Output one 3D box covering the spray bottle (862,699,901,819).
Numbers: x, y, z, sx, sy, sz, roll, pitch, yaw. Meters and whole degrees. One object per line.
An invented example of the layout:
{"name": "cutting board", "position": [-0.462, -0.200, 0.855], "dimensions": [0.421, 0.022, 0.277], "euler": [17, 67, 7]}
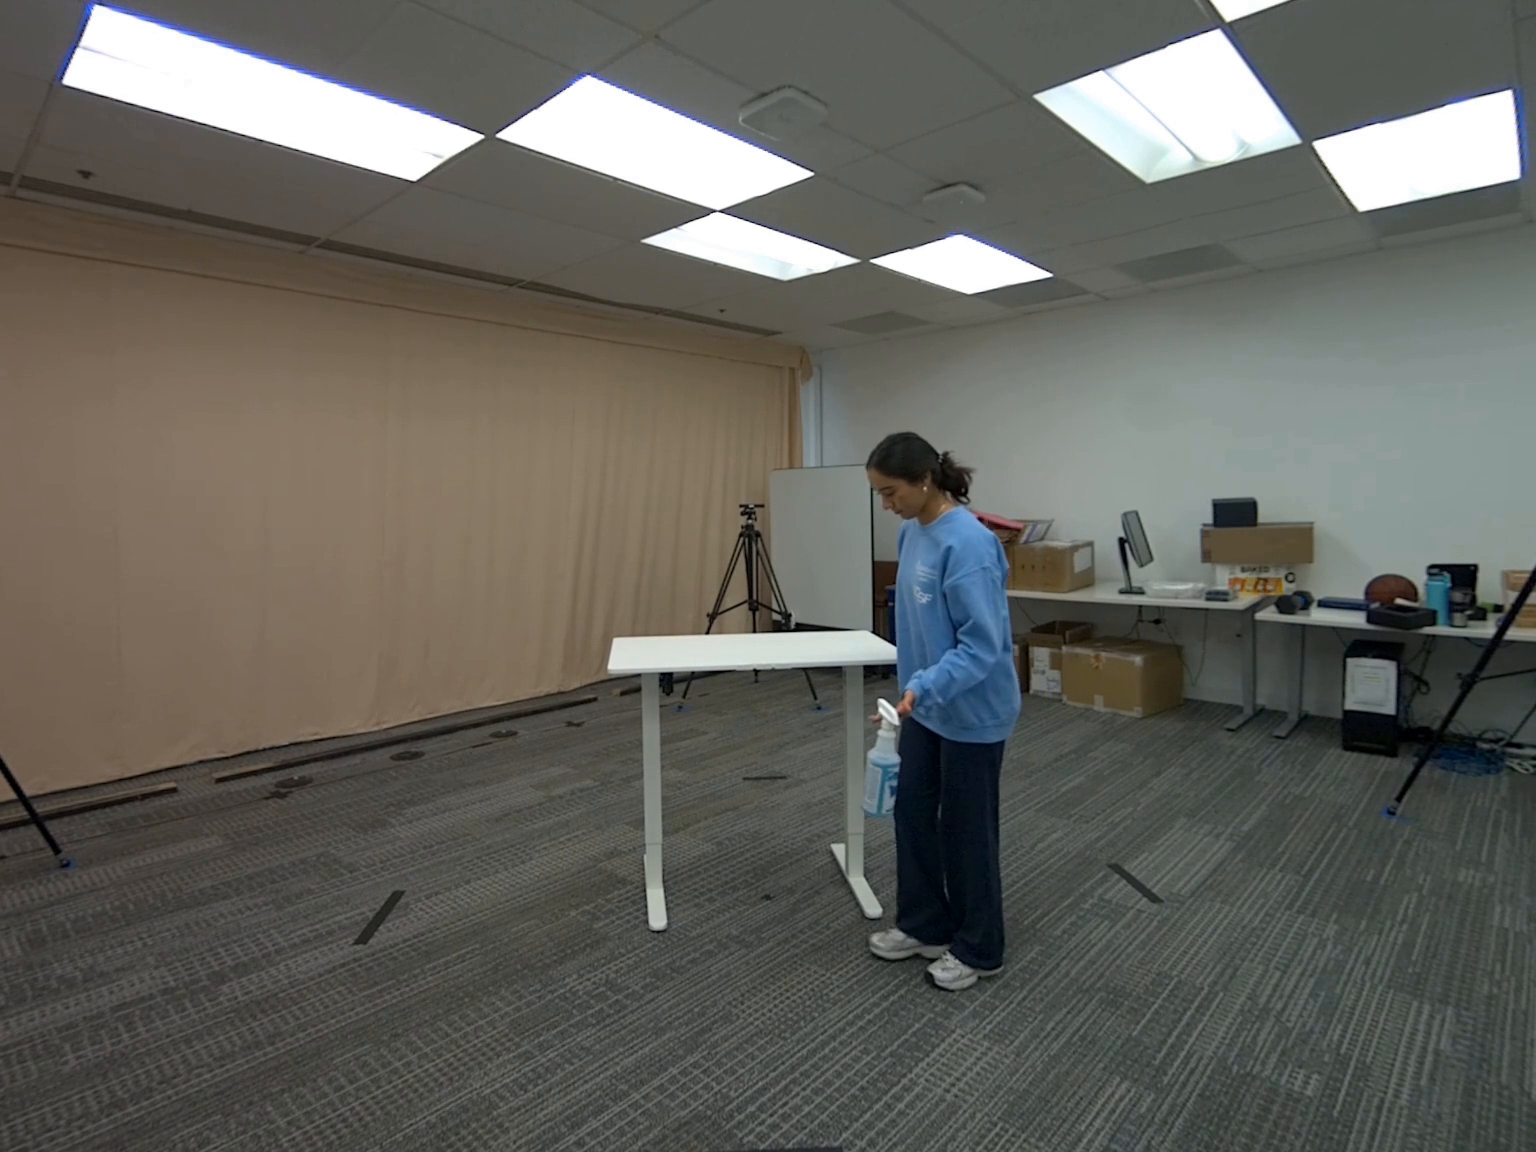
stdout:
{"name": "spray bottle", "position": [0.305, 0.482, 2.204], "dimensions": [0.087, 0.295, 0.090], "euler": [4, 11, 2]}
